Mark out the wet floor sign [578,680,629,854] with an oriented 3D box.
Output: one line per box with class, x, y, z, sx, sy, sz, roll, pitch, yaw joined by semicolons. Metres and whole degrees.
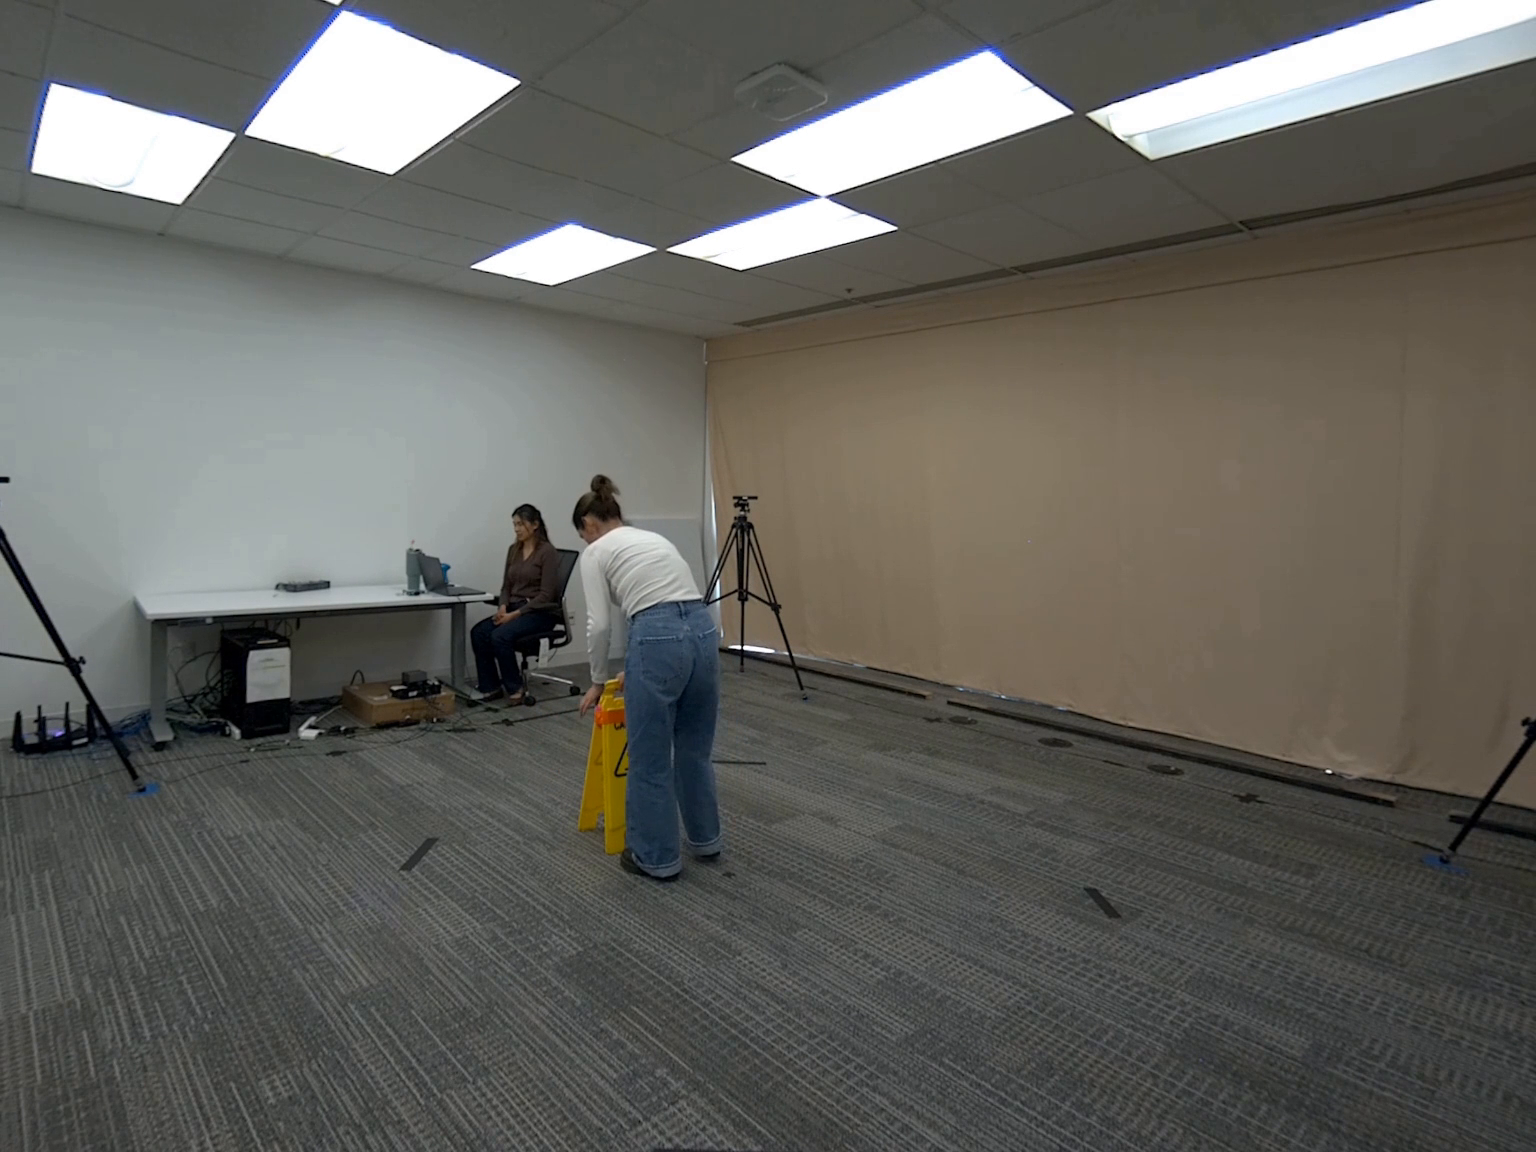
wet floor sign;-0.586;0.739;3.420;0.276;0.644;0.297;-2;5;-35
